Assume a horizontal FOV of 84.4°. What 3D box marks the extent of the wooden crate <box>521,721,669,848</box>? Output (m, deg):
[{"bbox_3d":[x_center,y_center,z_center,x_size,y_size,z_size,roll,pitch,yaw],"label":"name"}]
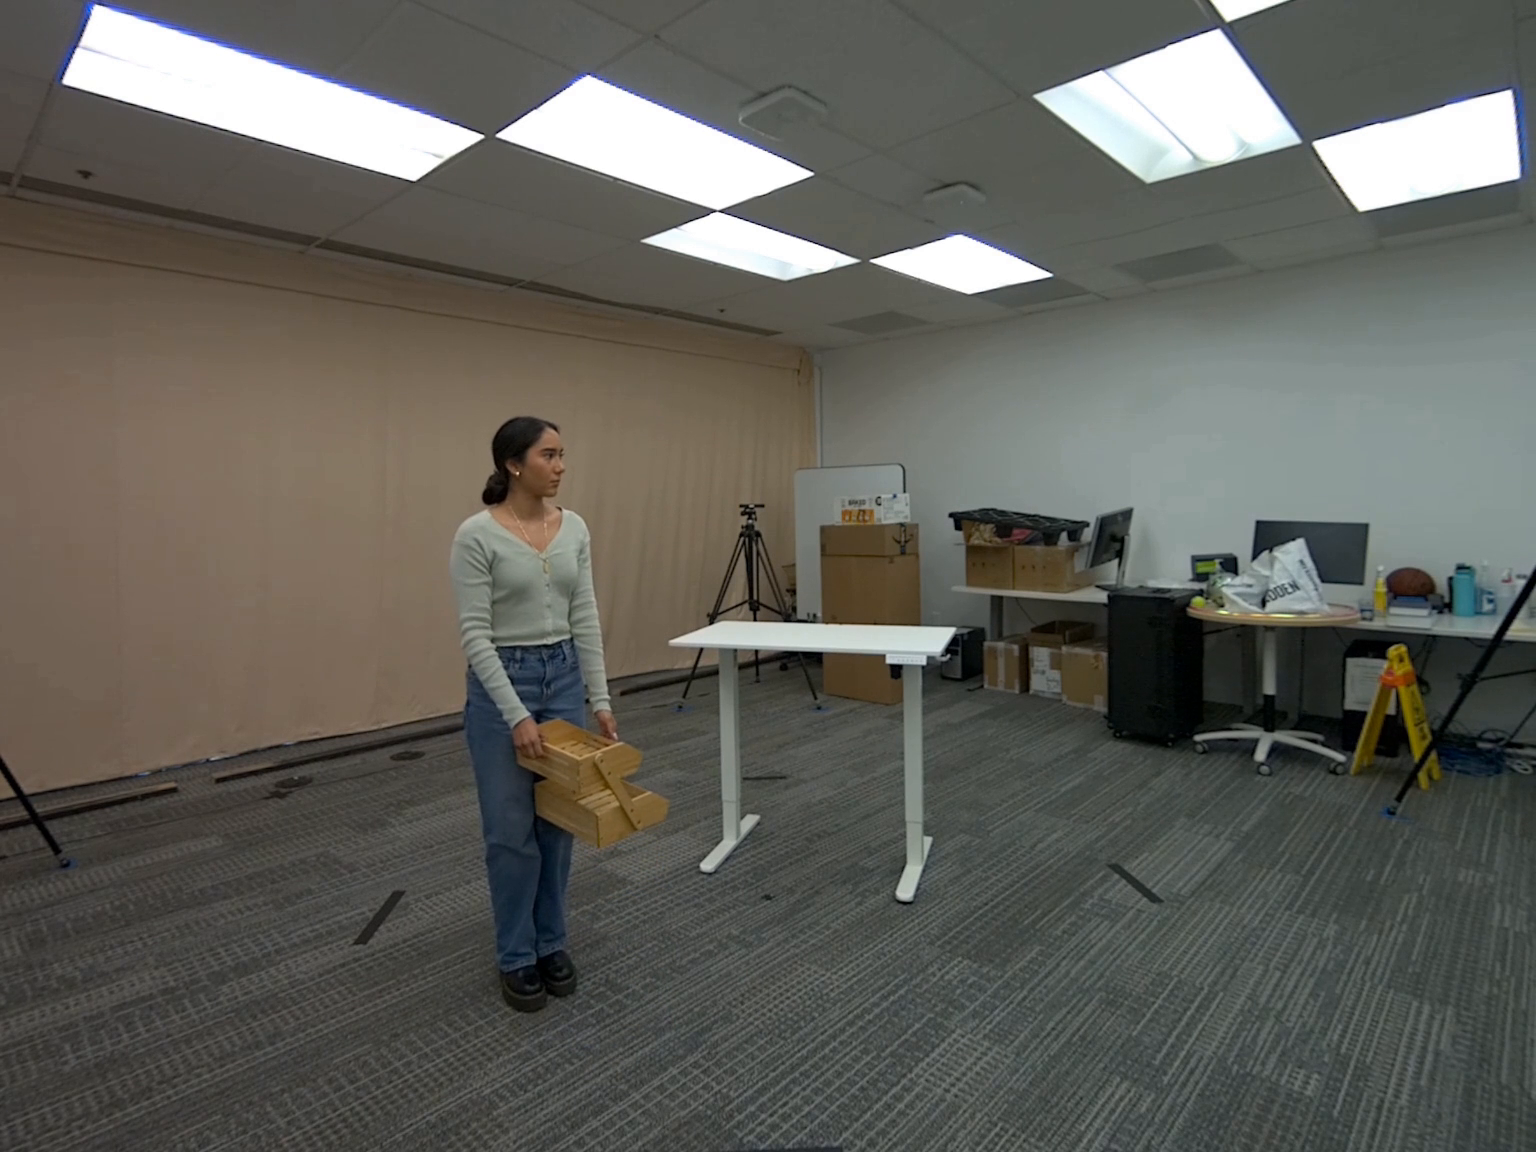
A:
[{"bbox_3d":[-0.489,0.557,2.328,0.335,0.272,0.293,6,12,43],"label":"wooden crate"}]
